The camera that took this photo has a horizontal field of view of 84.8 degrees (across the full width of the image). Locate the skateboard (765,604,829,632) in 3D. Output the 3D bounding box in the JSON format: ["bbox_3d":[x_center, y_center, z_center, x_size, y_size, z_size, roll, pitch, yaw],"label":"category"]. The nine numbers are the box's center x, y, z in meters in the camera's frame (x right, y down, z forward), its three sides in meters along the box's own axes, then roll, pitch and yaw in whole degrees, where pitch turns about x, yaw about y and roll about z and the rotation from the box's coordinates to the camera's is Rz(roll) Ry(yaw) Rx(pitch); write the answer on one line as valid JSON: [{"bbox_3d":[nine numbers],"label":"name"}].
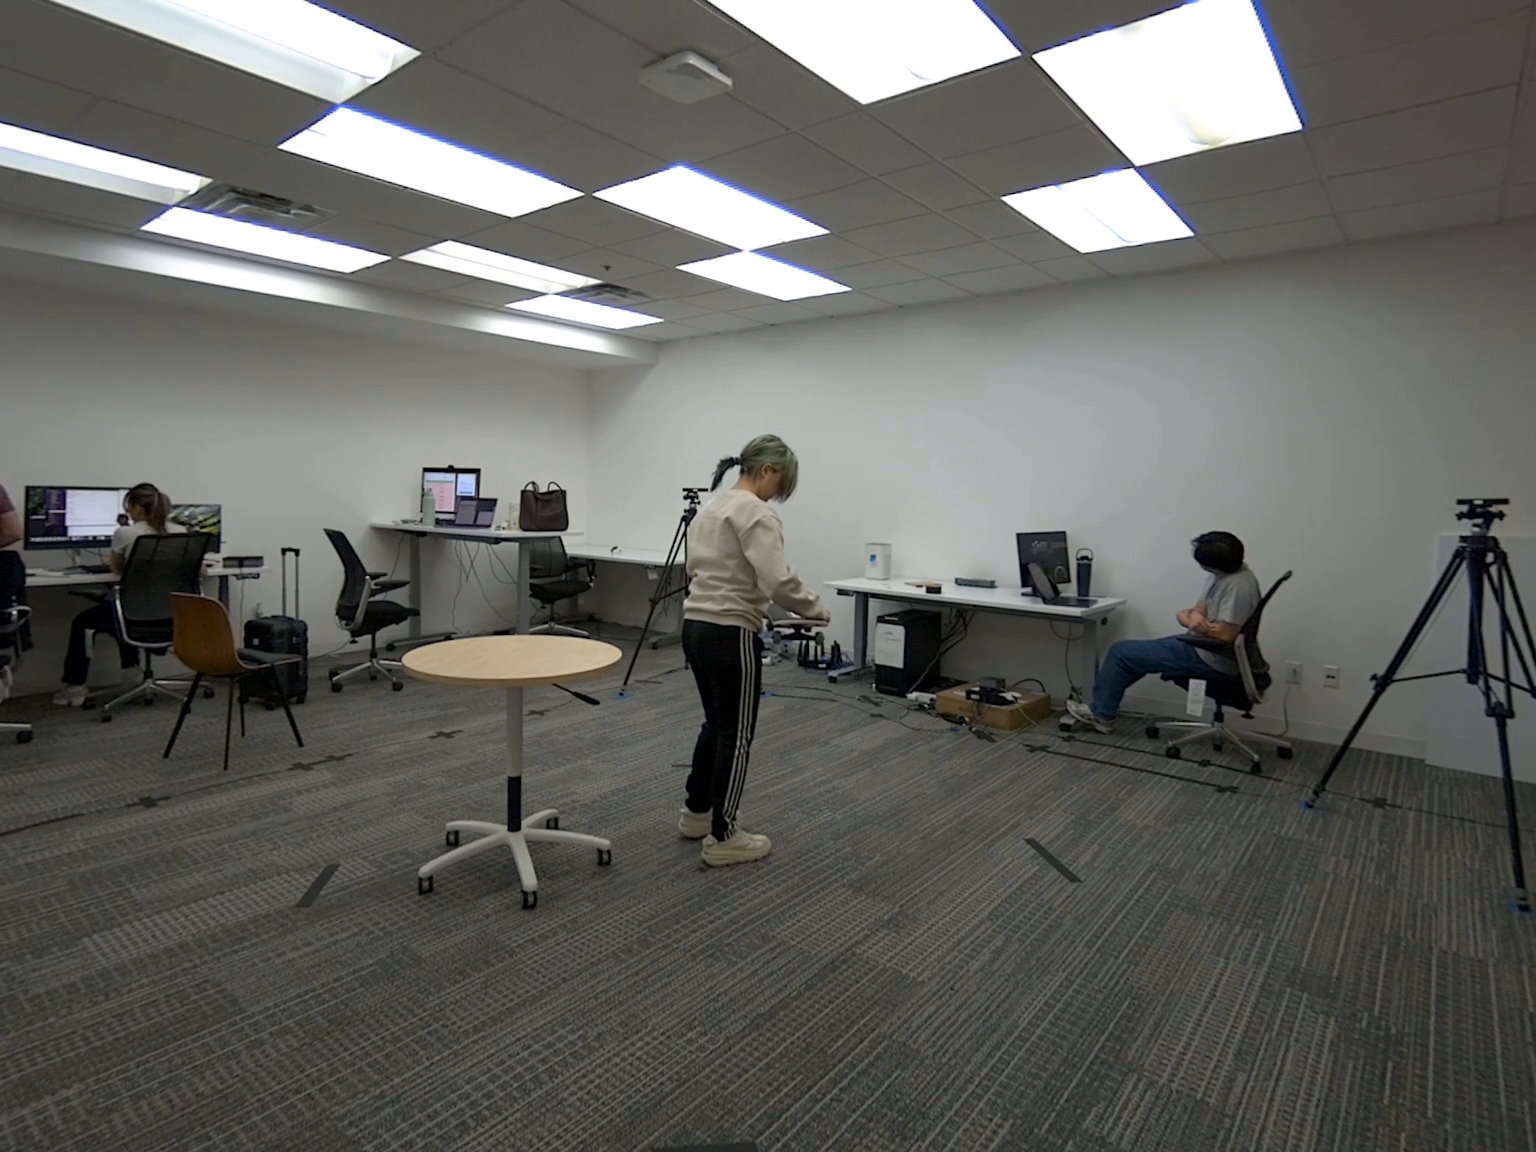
[{"bbox_3d":[0.087,0.192,3.302,0.192,0.110,0.790,3,3,-6],"label":"skateboard"}]
